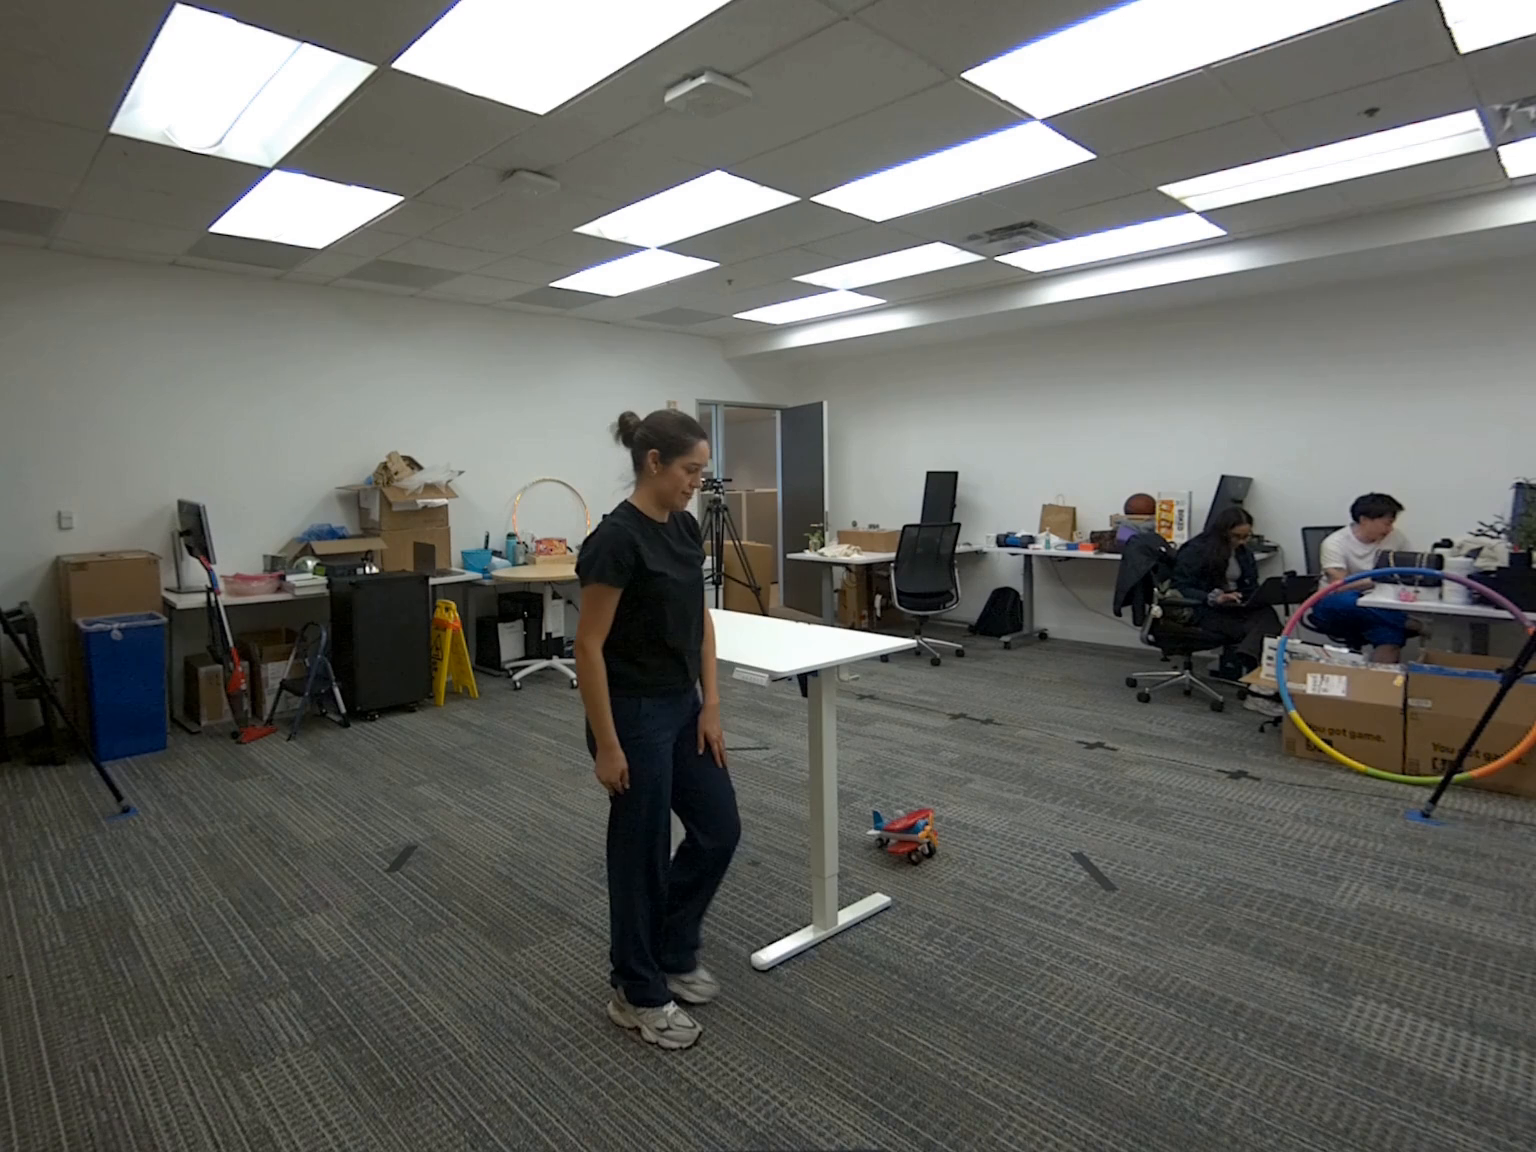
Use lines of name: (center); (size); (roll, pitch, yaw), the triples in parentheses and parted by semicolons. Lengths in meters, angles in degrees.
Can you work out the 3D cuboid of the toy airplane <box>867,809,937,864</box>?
toy airplane: (0.487, 0.951, 3.161); (0.264, 0.156, 0.248); (2, 6, 17)
